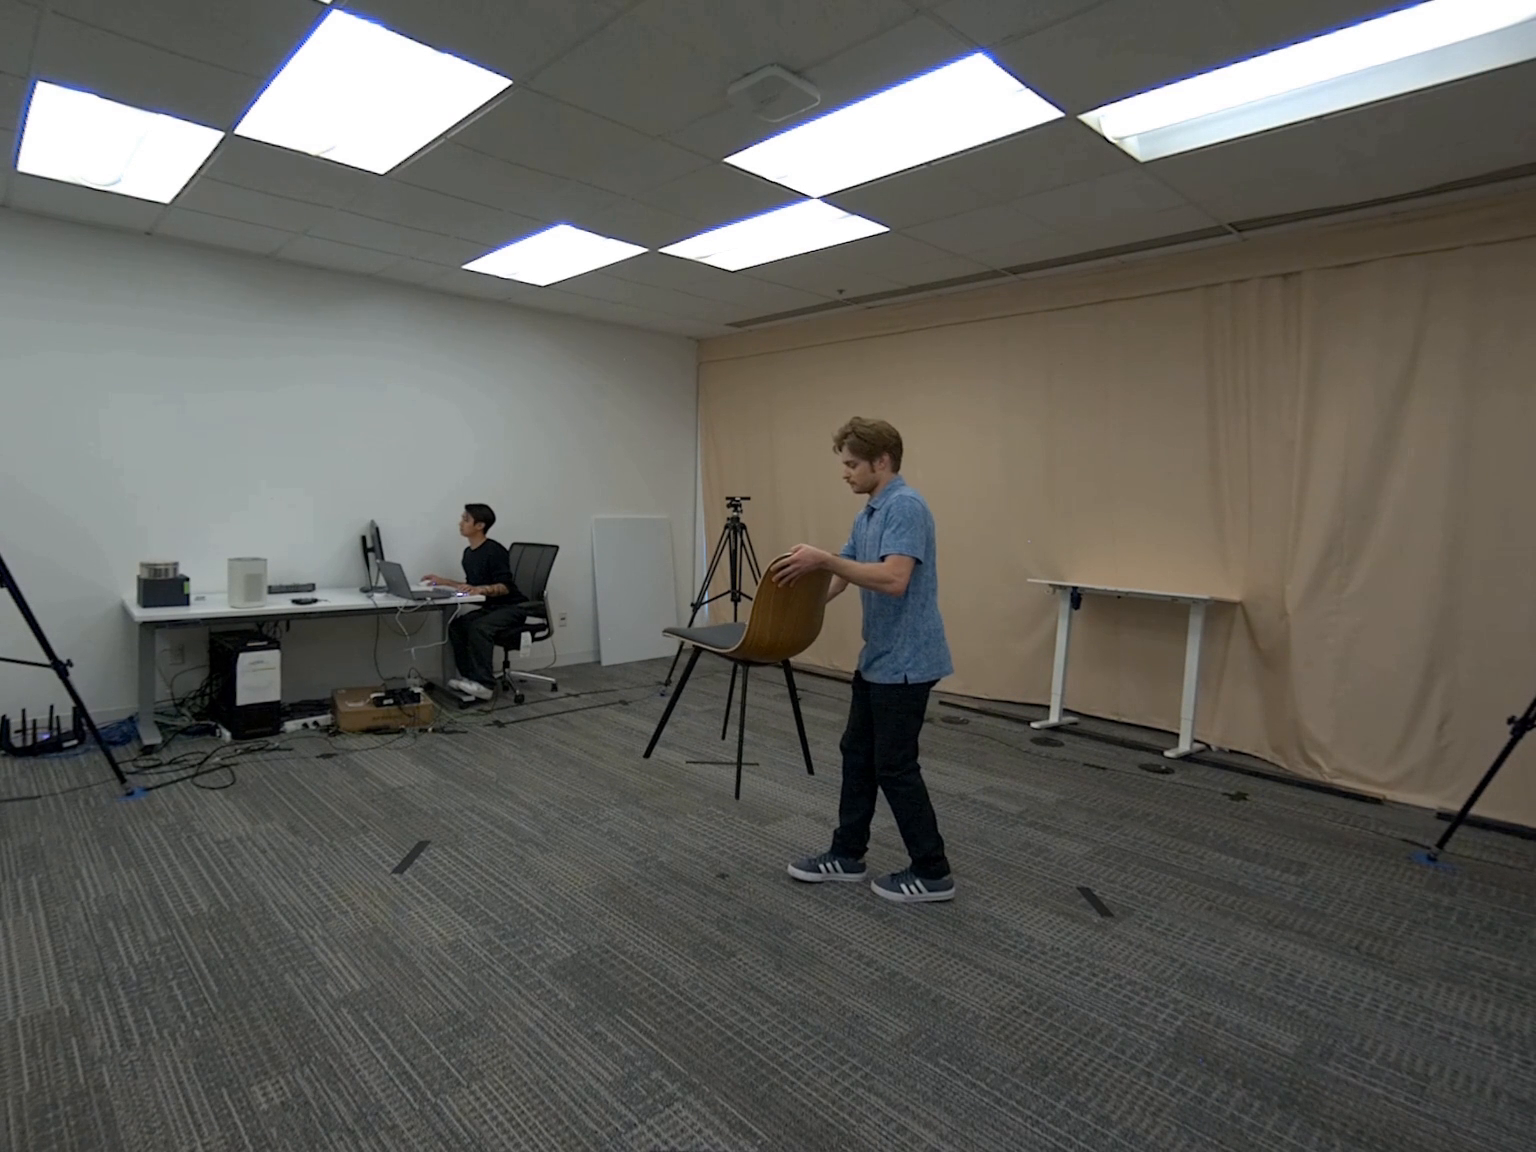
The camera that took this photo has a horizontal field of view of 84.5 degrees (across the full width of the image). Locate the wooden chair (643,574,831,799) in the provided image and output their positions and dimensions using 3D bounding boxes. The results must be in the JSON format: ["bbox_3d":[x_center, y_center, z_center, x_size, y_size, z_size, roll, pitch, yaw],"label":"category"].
[{"bbox_3d":[-0.097,0.287,3.063,0.538,0.873,0.467,16,10,38],"label":"wooden chair"}]
